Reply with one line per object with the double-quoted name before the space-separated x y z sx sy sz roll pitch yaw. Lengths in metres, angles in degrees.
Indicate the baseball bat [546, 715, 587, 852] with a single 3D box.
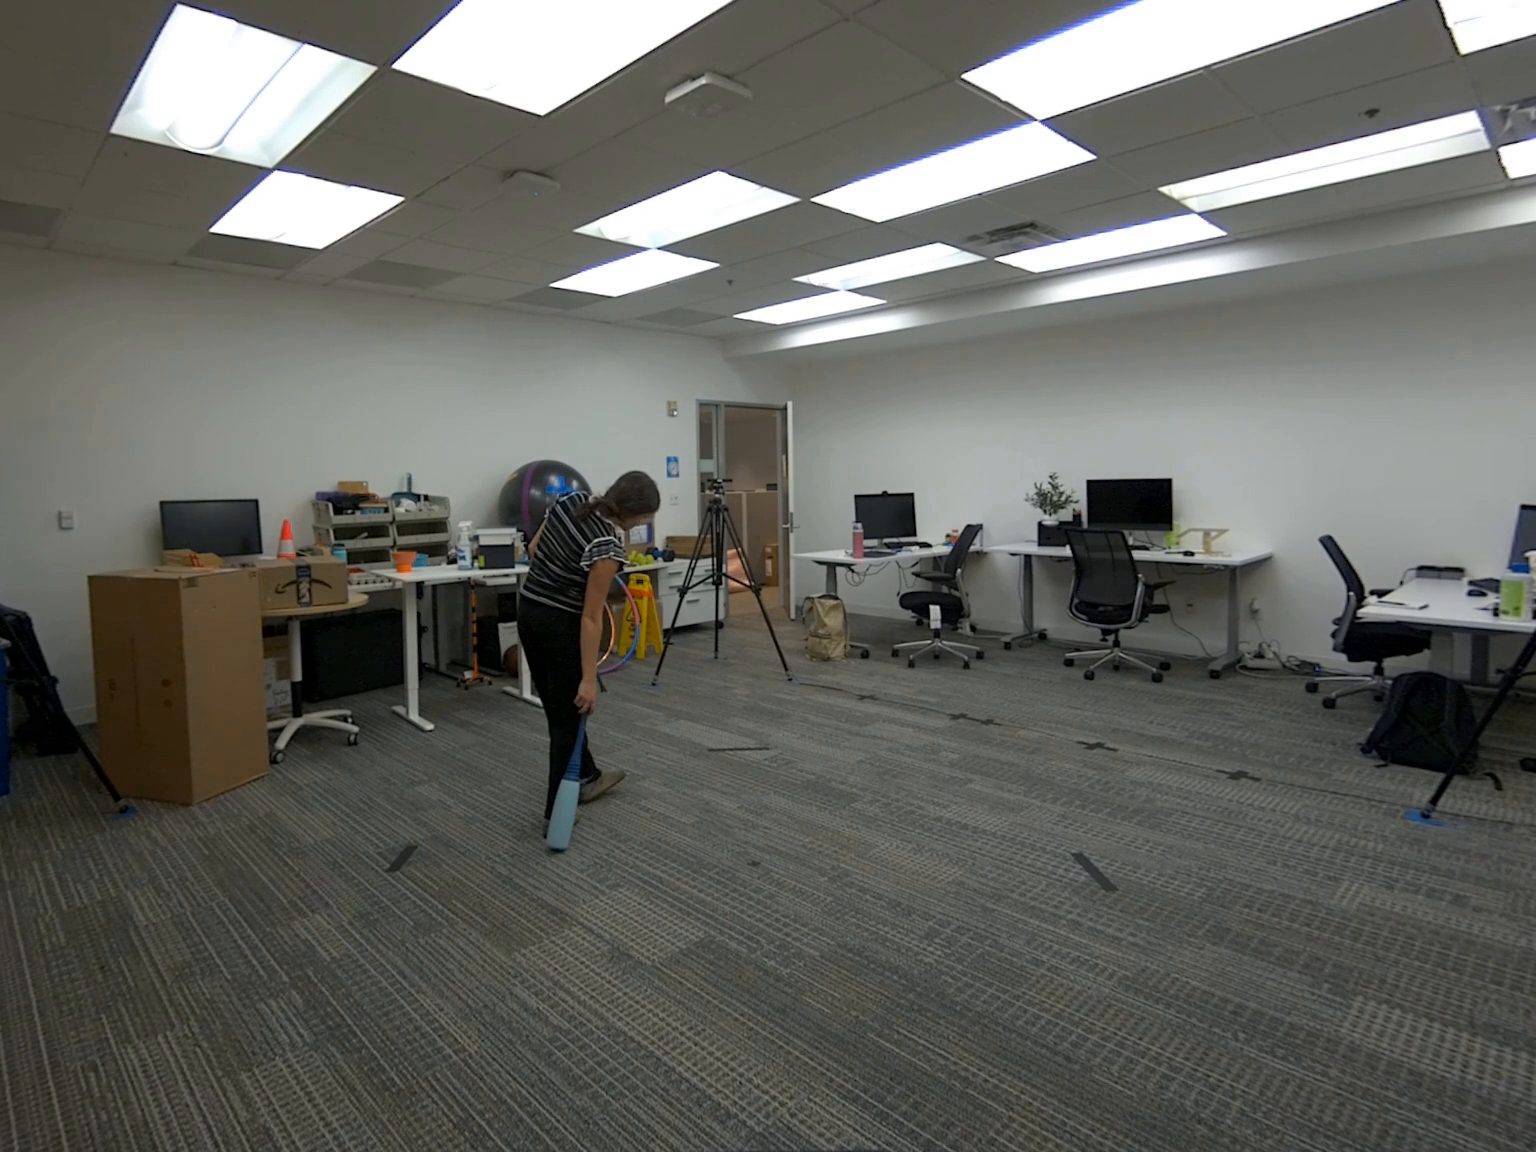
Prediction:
"baseball bat" -0.762 0.779 3.318 0.089 0.549 0.088 9 -16 1
